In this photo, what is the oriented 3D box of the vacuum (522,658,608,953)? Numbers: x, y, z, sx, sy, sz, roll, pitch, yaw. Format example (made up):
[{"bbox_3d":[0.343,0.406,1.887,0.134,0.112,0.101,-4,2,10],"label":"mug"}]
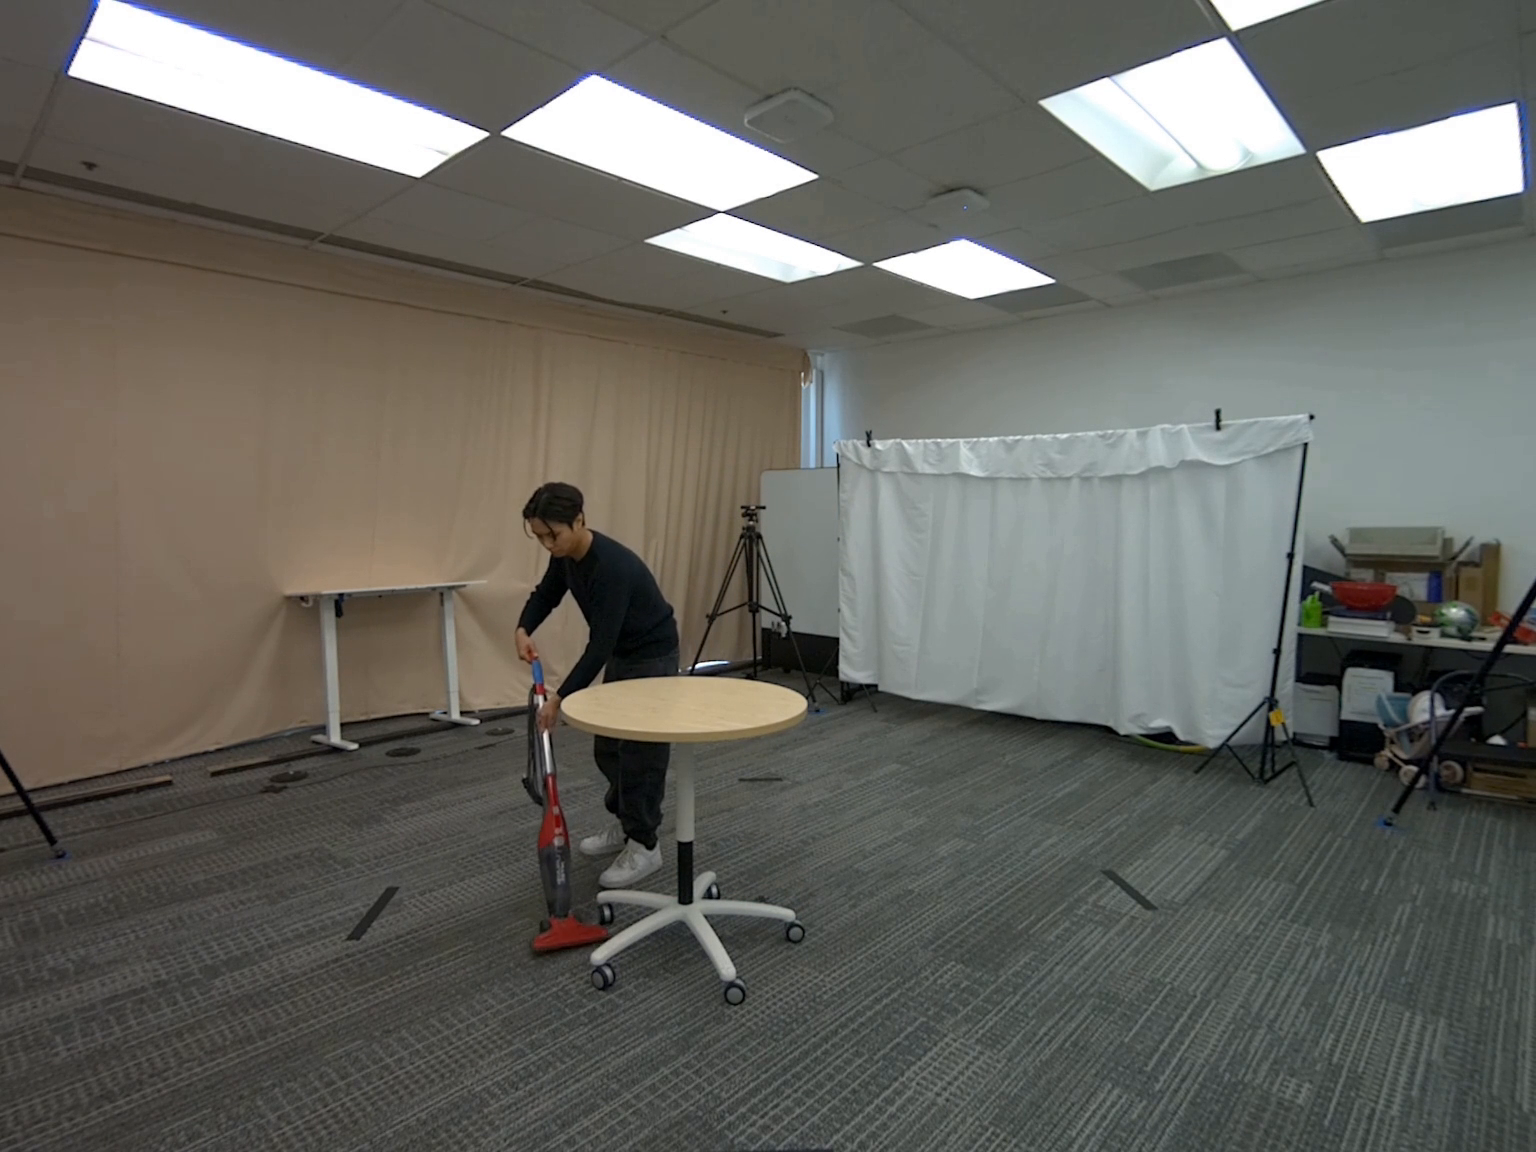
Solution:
[{"bbox_3d":[-0.776,0.700,2.984,0.246,1.074,0.144,2,-36,-27],"label":"vacuum"}]
